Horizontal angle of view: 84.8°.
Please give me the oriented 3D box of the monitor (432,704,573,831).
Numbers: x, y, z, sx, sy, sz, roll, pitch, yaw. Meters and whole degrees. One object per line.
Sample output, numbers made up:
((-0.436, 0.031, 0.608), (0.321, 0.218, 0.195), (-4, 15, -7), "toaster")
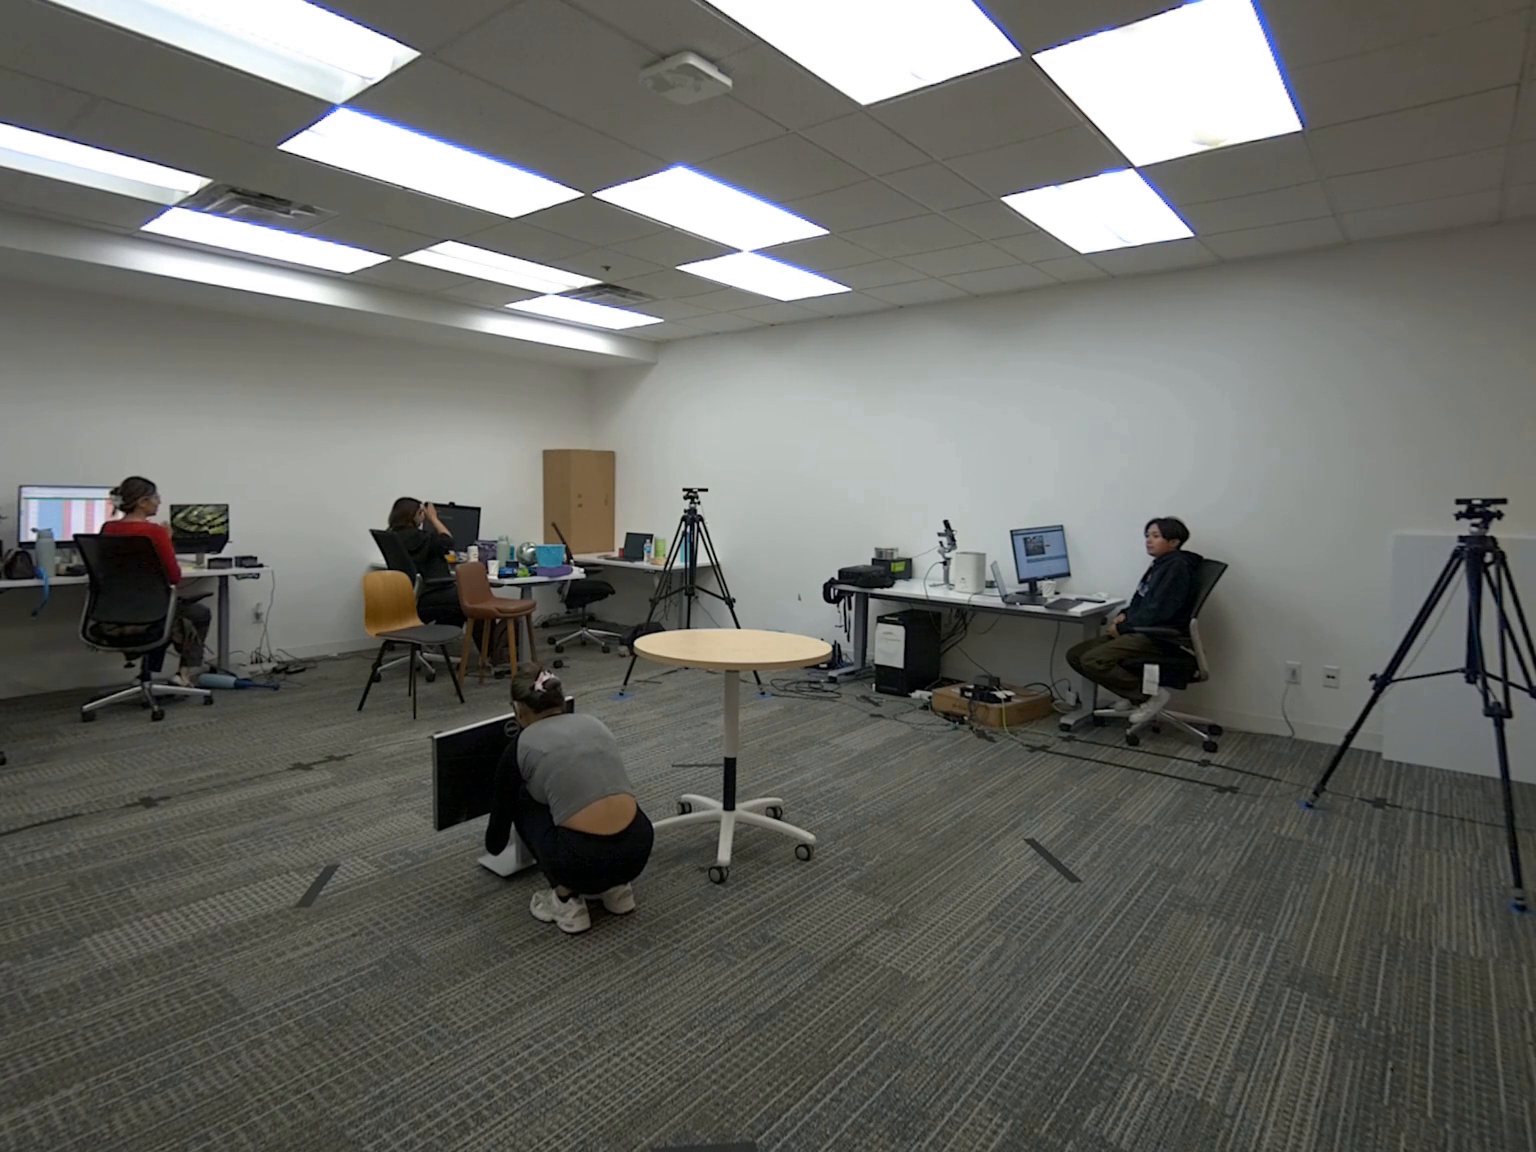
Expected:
((-0.955, 0.778, 3.094), (0.193, 0.520, 0.524), (2, 7, 42), "monitor")
